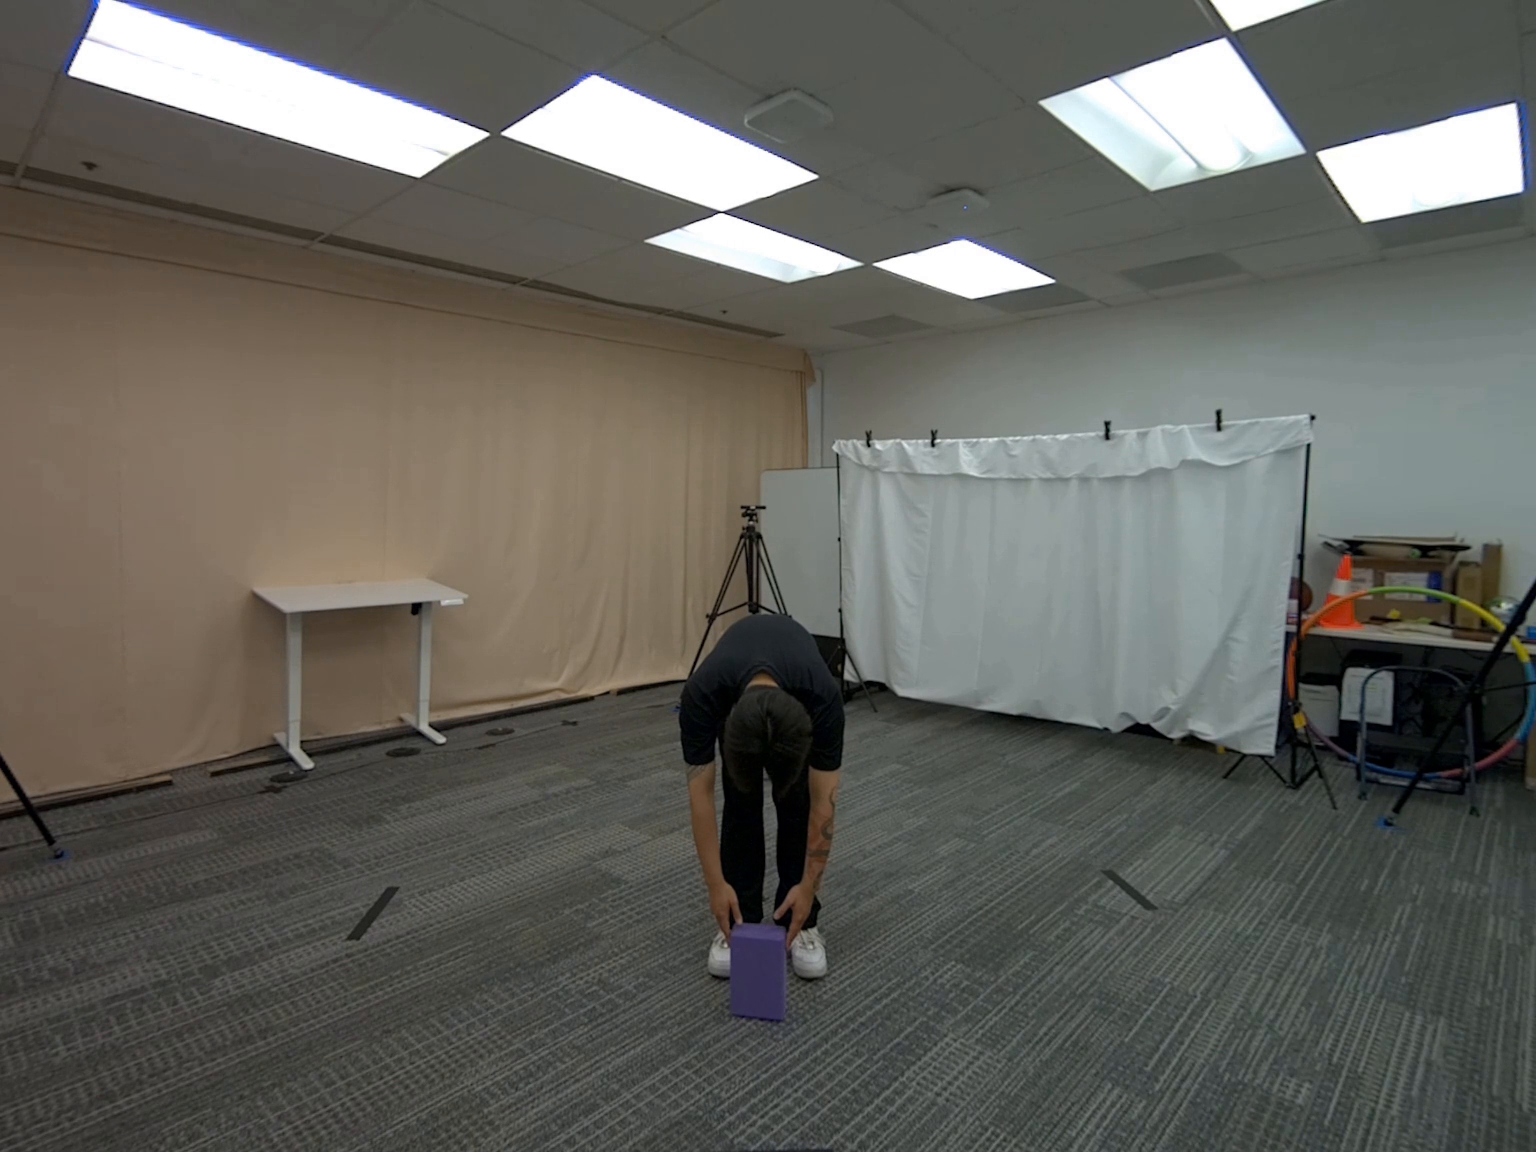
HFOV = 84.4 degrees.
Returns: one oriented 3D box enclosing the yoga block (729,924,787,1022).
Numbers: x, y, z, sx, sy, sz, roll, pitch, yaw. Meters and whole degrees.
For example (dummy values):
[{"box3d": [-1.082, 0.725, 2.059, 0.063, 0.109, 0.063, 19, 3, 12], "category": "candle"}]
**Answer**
[{"box3d": [-0.026, 1.082, 2.315, 0.150, 0.229, 0.076, 0, 3, 8], "category": "yoga block"}]
